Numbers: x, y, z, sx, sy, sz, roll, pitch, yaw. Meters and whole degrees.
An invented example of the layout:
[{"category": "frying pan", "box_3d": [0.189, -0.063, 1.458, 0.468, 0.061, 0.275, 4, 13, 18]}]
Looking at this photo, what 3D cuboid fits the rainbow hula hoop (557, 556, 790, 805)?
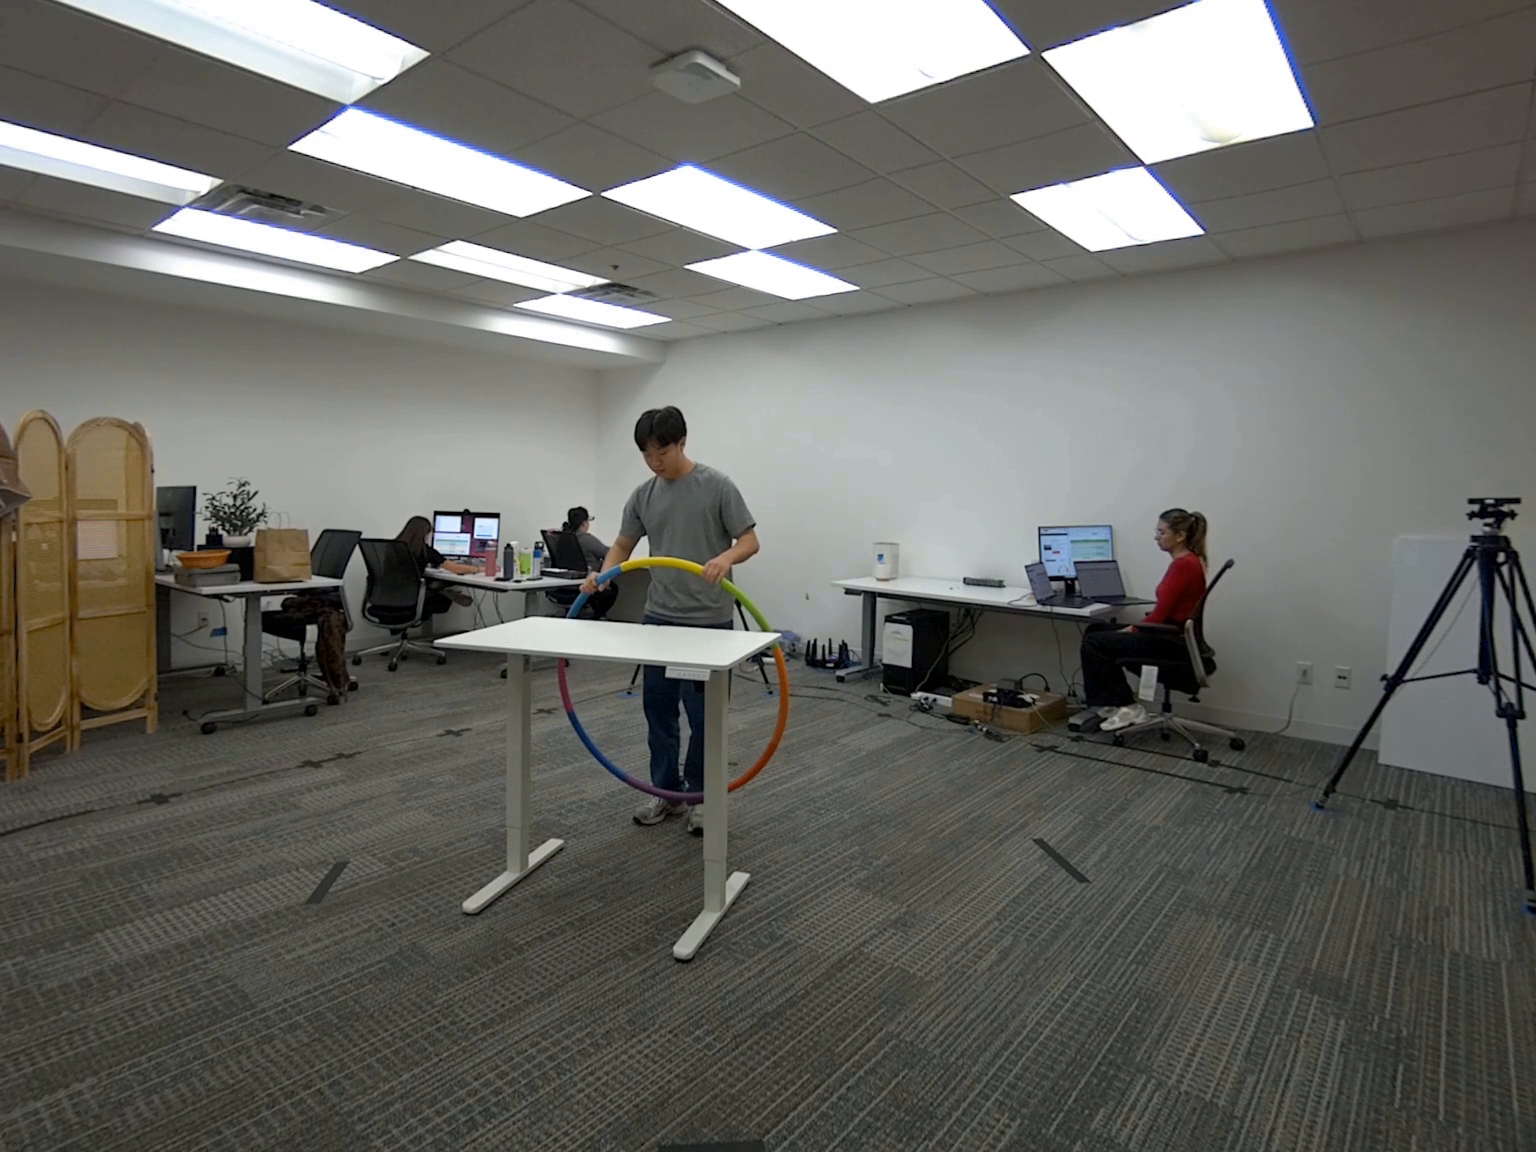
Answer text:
[{"category": "rainbow hula hoop", "box_3d": [-0.398, 0.414, 3.318, 0.999, 0.968, 0.035, 3, 11, 19]}]
